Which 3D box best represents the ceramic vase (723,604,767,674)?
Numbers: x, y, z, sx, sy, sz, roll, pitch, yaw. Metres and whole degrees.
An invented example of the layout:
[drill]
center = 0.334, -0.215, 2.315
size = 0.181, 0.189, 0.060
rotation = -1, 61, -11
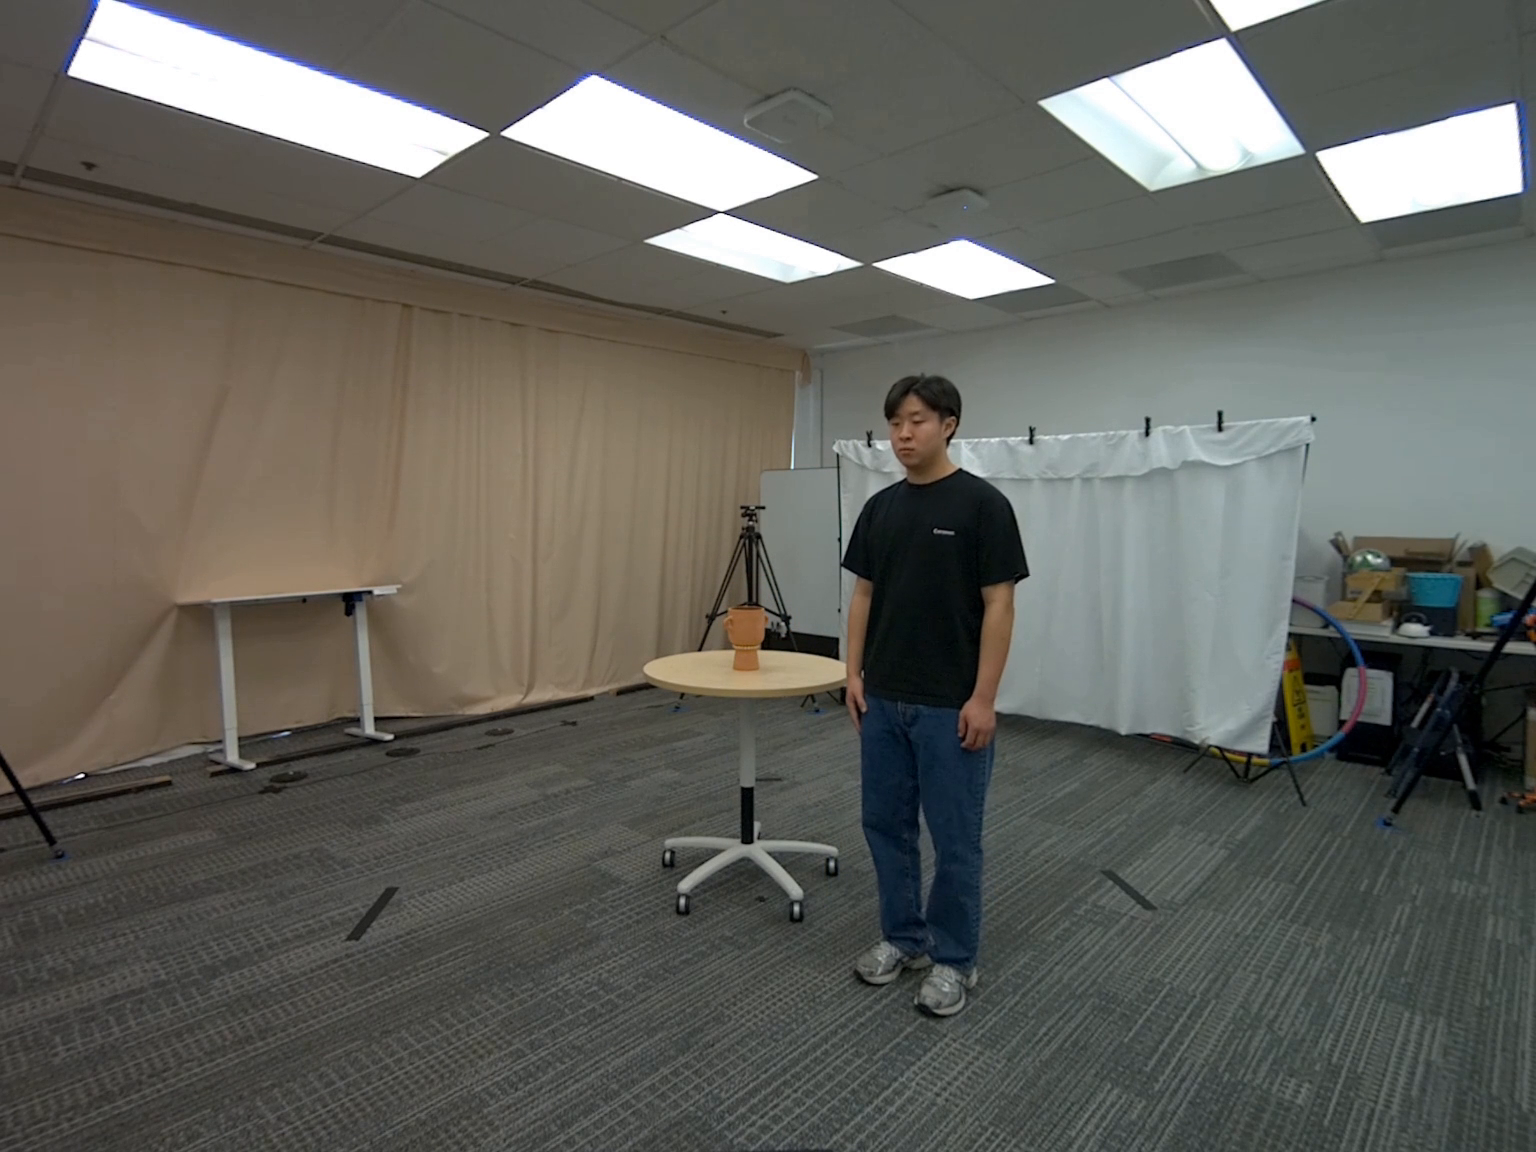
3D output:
[ceramic vase]
center = -0.076, 0.233, 3.077
size = 0.160, 0.219, 0.134
rotation = 0, 3, 6
